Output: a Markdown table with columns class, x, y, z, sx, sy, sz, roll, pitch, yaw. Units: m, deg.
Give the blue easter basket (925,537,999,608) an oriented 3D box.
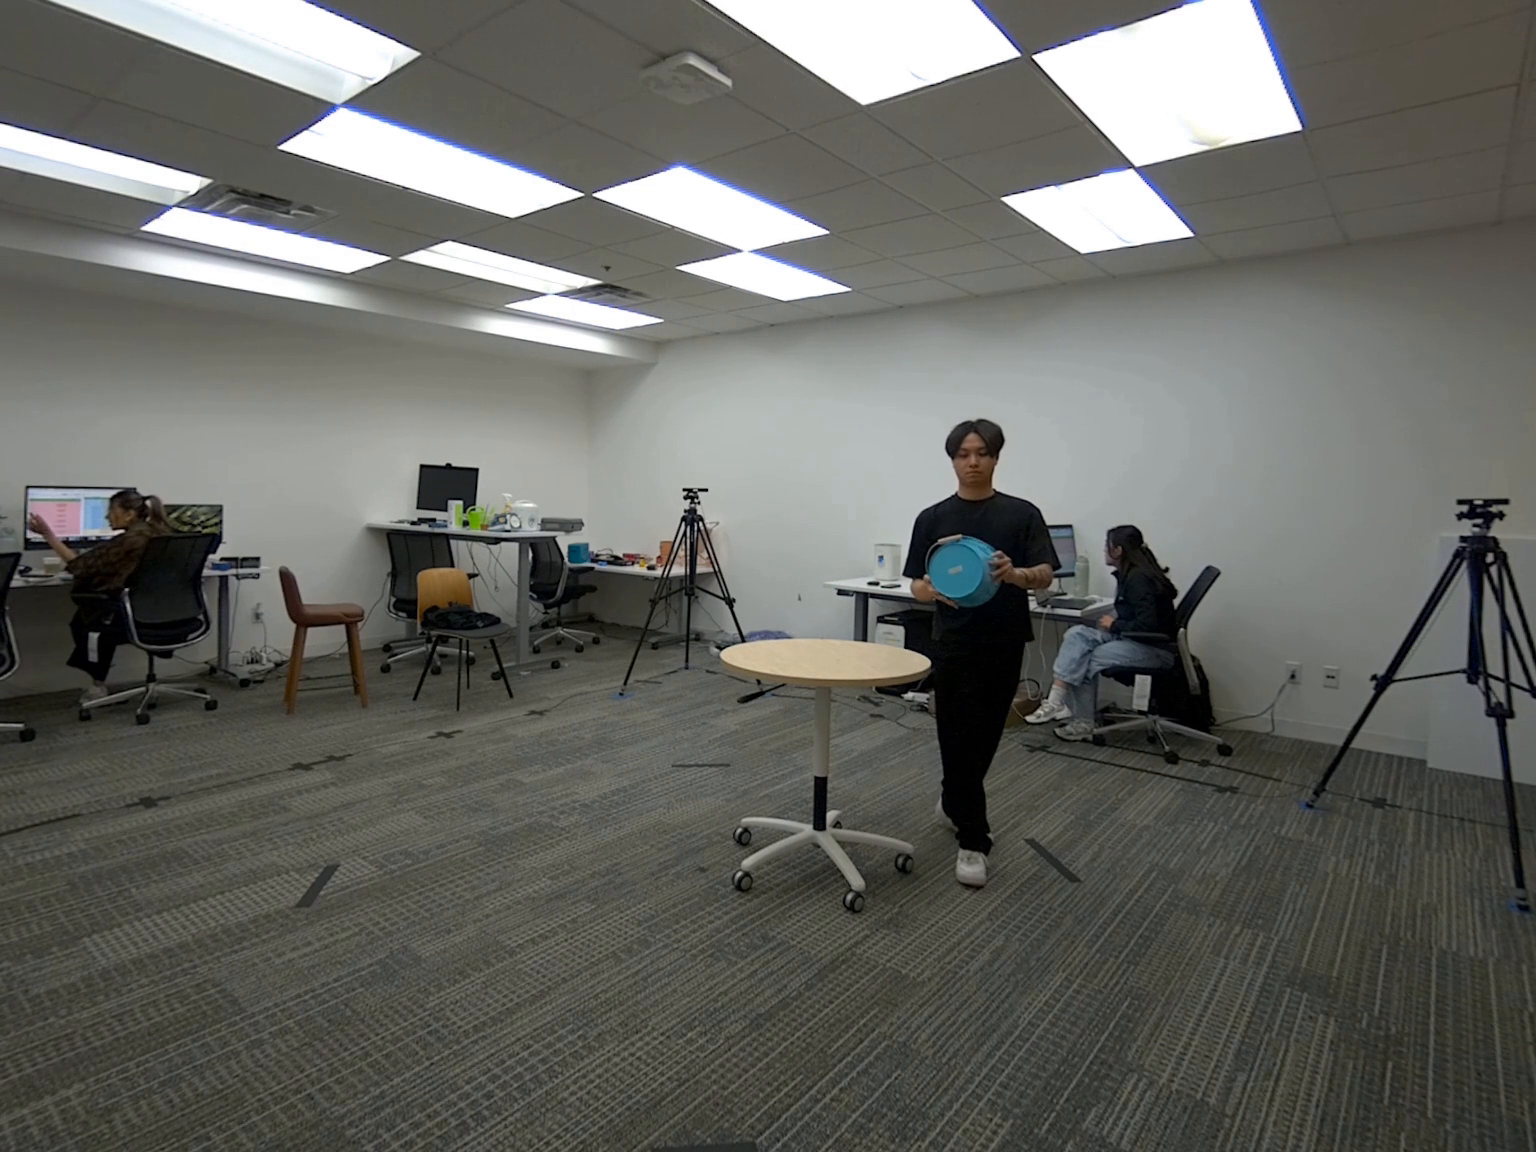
| class | x | y | z | sx | sy | sz | roll | pitch | yaw |
| --- | --- | --- | --- | --- | --- | --- | --- | --- | --- |
| blue easter basket | 0.642 | -0.022 | 2.896 | 0.251 | 0.244 | 0.151 | 3 | -3 | 30 |
